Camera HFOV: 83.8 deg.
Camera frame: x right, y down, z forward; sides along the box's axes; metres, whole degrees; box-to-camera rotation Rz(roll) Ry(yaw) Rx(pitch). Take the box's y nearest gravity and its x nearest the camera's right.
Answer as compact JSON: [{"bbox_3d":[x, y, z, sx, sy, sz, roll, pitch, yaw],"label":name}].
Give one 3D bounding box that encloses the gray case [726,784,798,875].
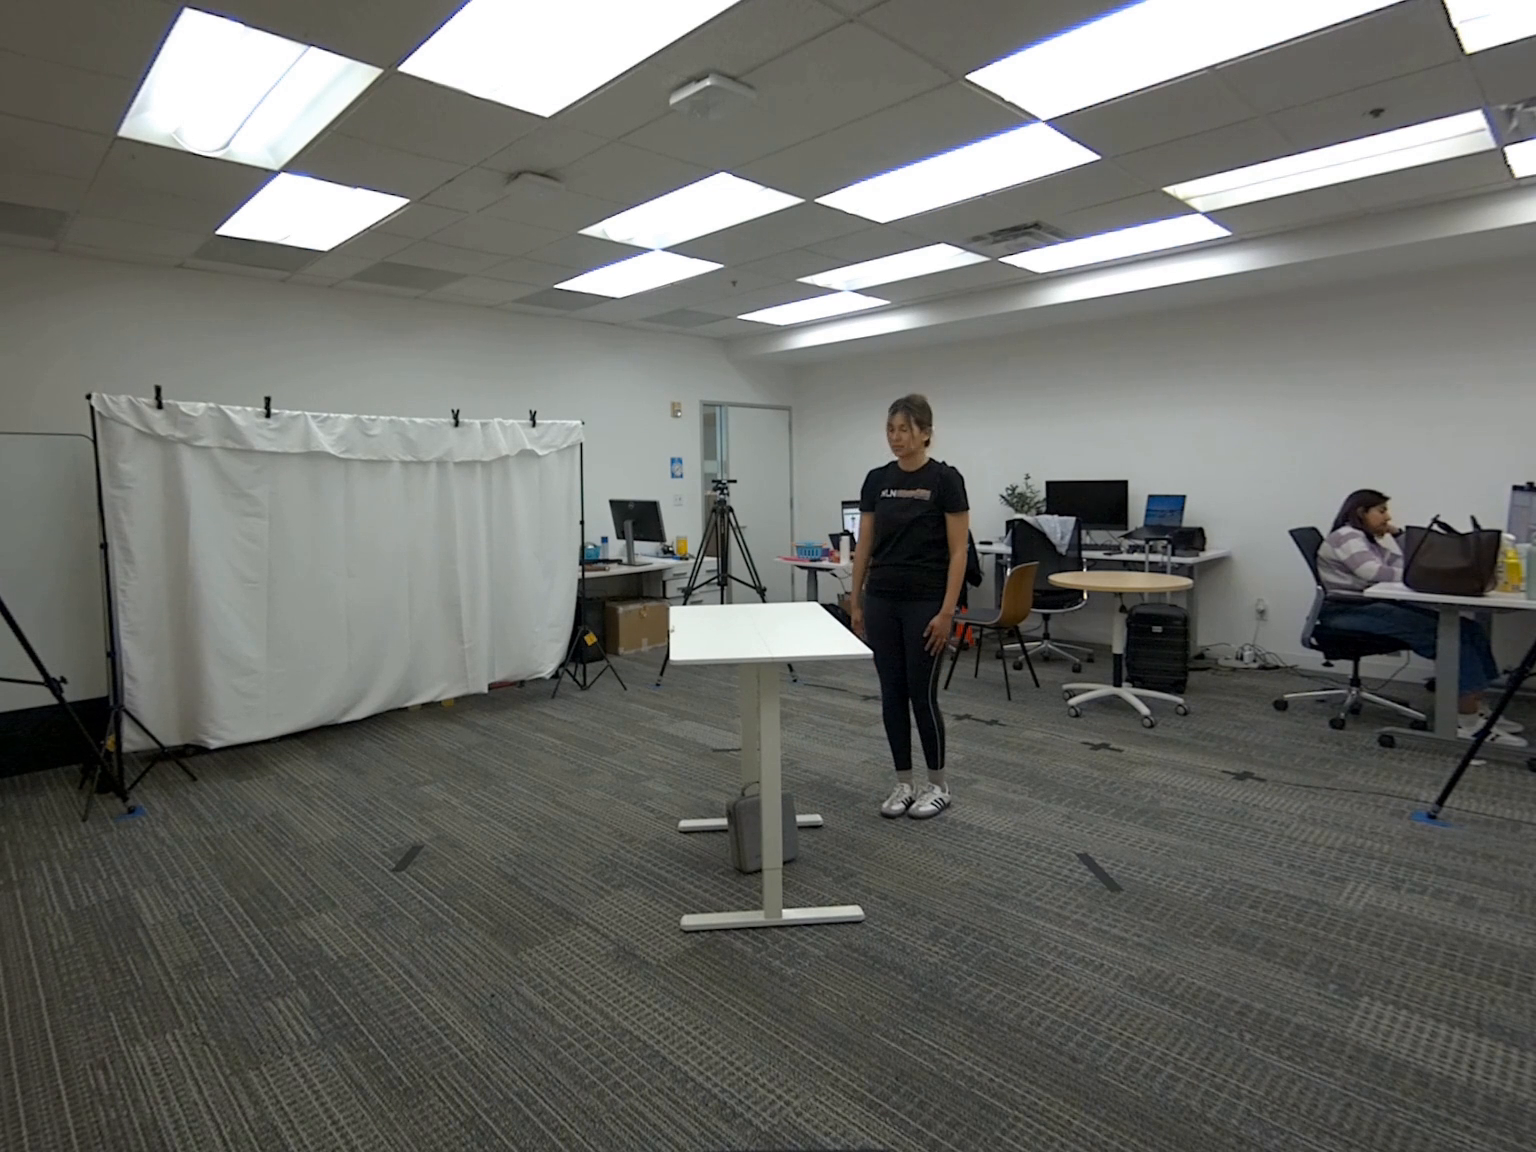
[{"bbox_3d":[-0.020,0.917,3.111,0.251,0.262,0.106,-3,-6,-31],"label":"gray case"}]
